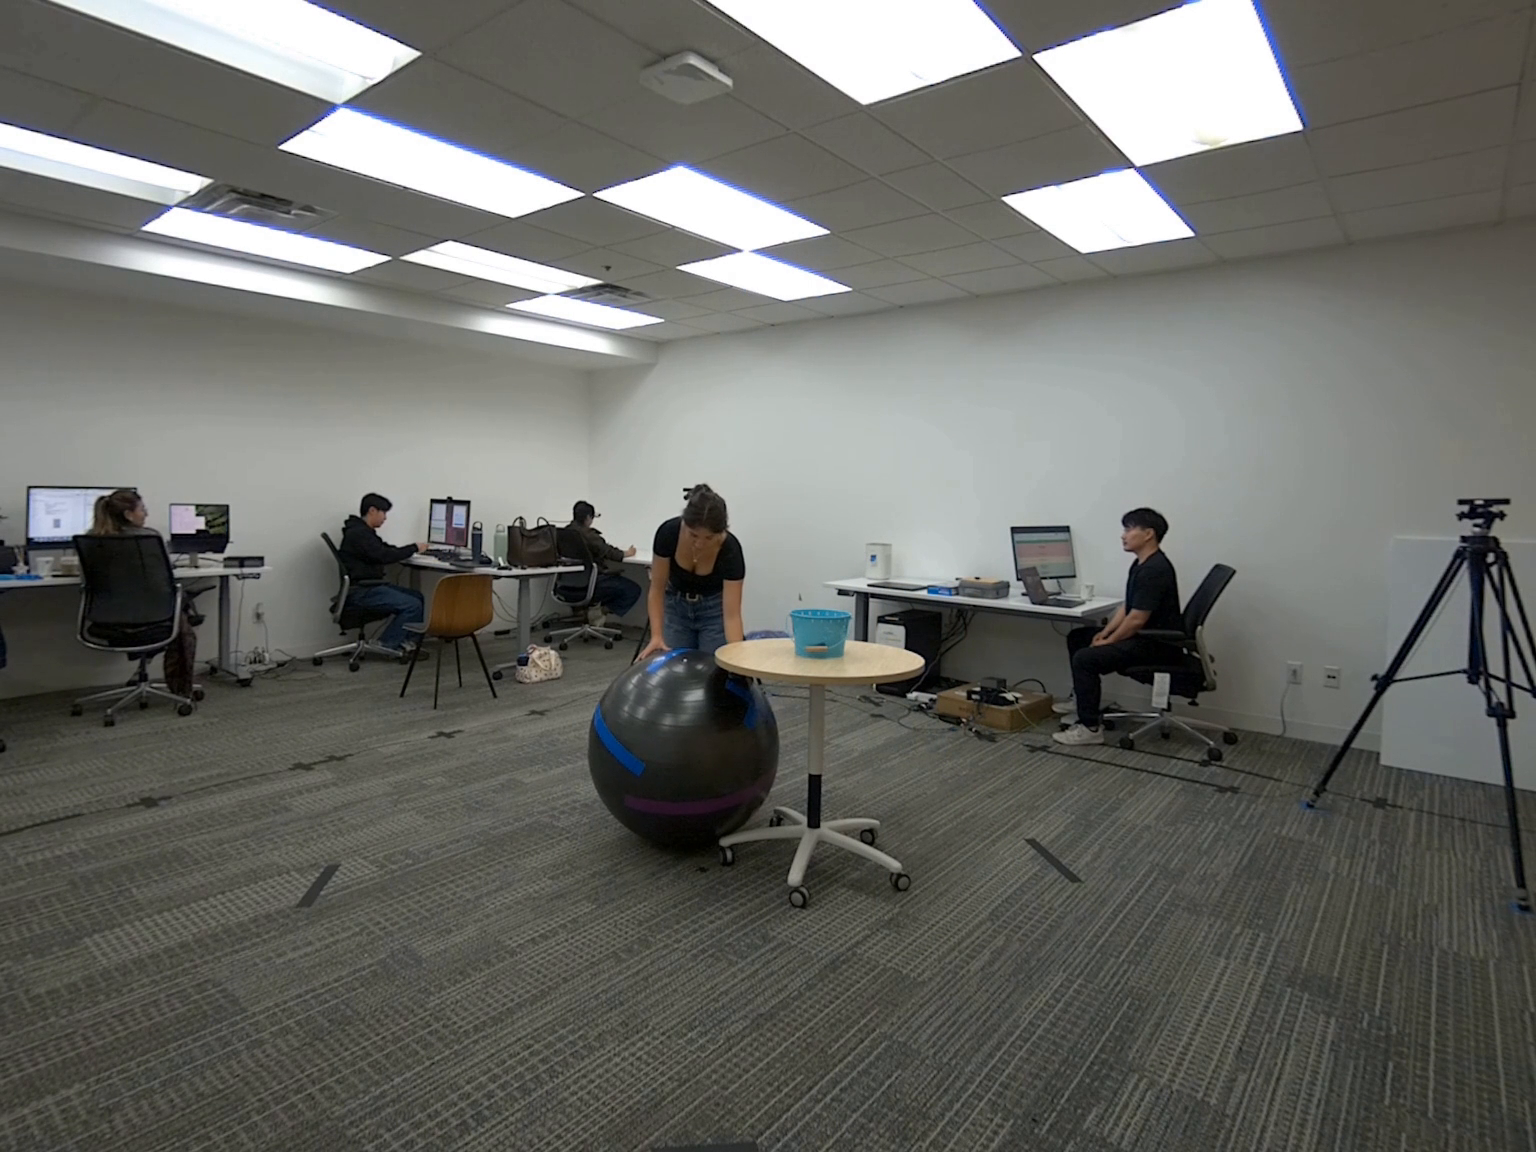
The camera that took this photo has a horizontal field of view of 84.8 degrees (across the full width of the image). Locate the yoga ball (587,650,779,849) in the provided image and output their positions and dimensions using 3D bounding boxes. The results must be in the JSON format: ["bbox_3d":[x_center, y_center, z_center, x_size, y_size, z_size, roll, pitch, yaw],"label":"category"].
[{"bbox_3d":[-0.343,0.678,3.380,0.757,0.756,0.762,1,4,-2],"label":"yoga ball"}]
